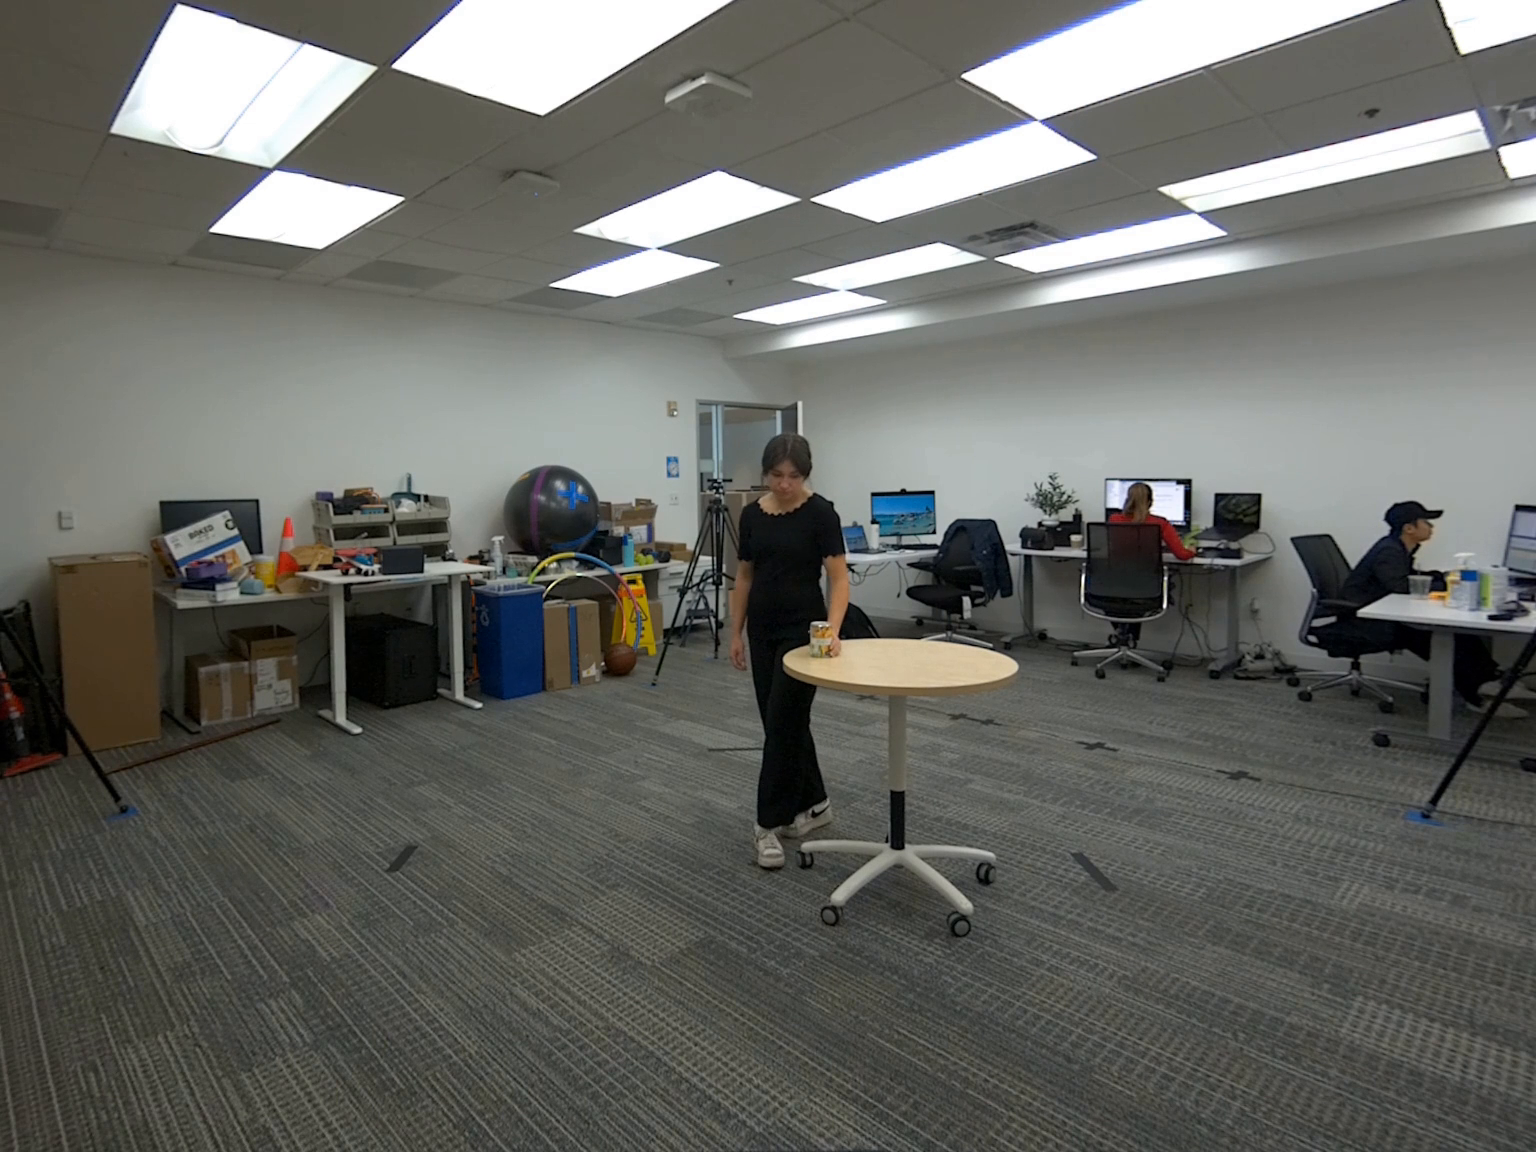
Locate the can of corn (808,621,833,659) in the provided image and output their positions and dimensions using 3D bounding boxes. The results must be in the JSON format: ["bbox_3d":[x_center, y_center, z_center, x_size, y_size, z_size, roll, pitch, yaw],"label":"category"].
[{"bbox_3d":[0.181,0.220,2.934,0.074,0.111,0.074,-2,4,-2],"label":"can of corn"}]
